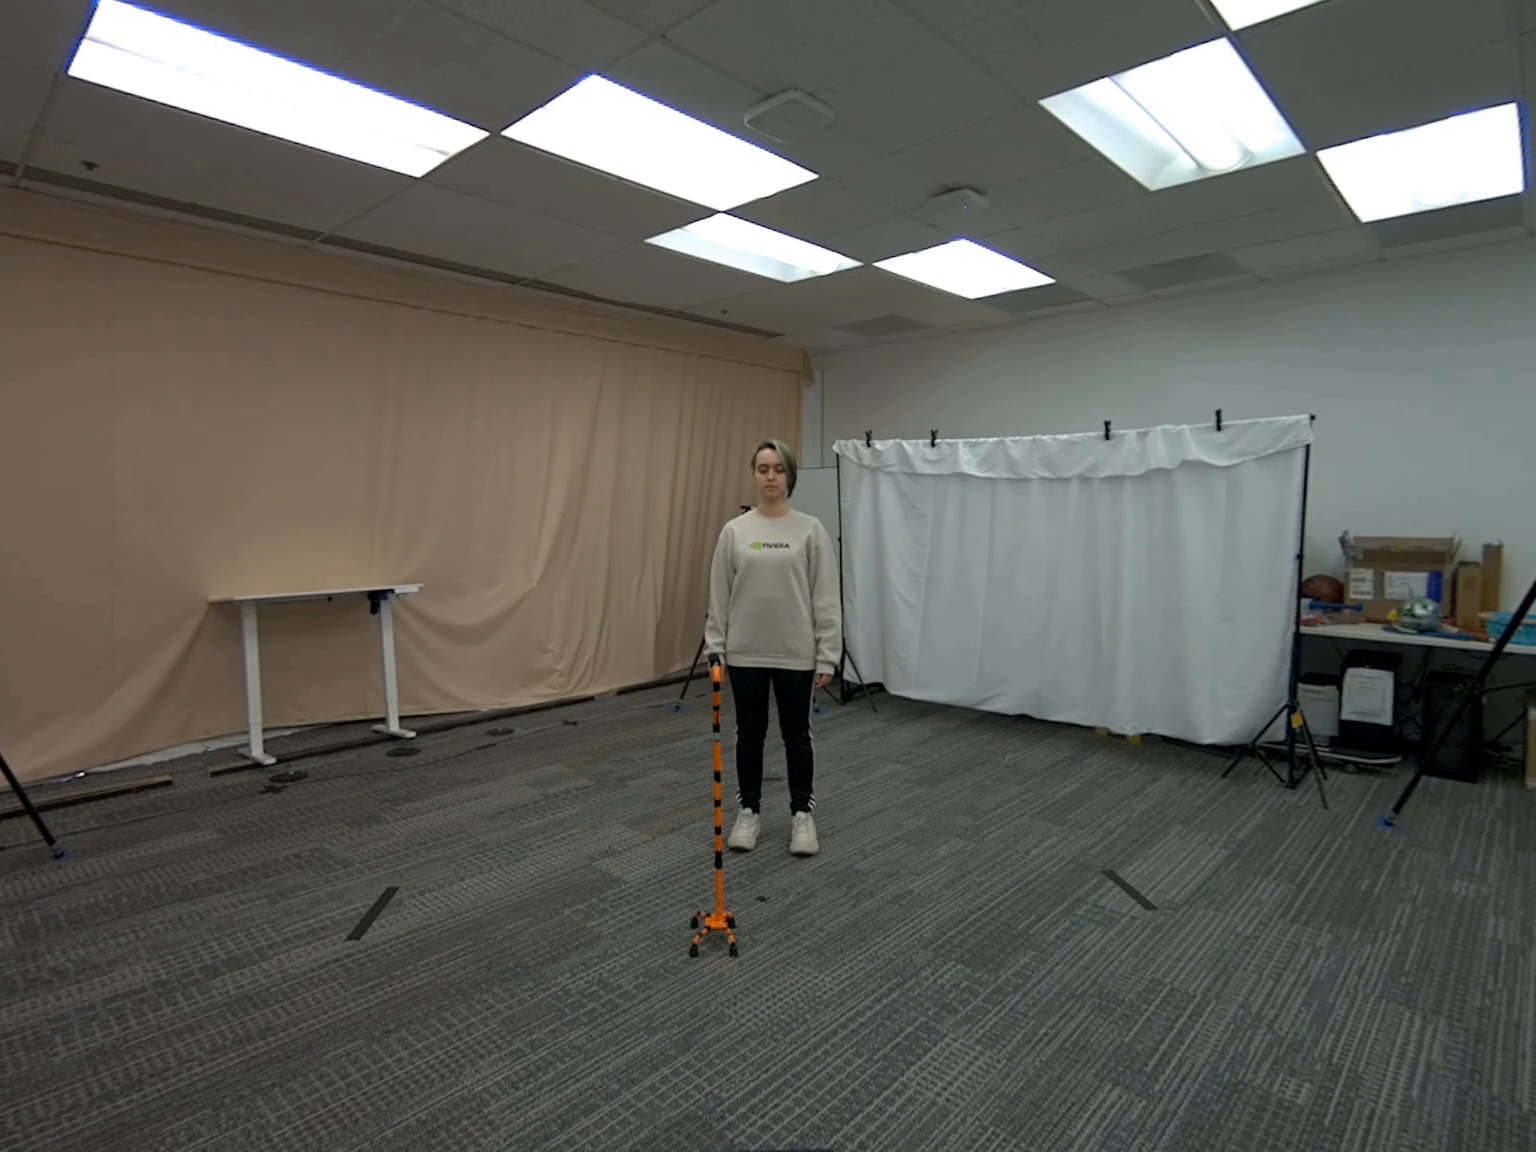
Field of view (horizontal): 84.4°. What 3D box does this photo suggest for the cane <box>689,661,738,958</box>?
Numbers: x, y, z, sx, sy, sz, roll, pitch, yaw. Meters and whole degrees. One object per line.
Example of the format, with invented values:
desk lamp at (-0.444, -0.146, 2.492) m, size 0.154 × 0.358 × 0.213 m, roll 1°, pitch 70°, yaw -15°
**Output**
cane at (-0.171, 0.710, 2.673) m, size 0.151 × 0.906 × 0.207 m, roll 0°, pitch 2°, yaw -4°
